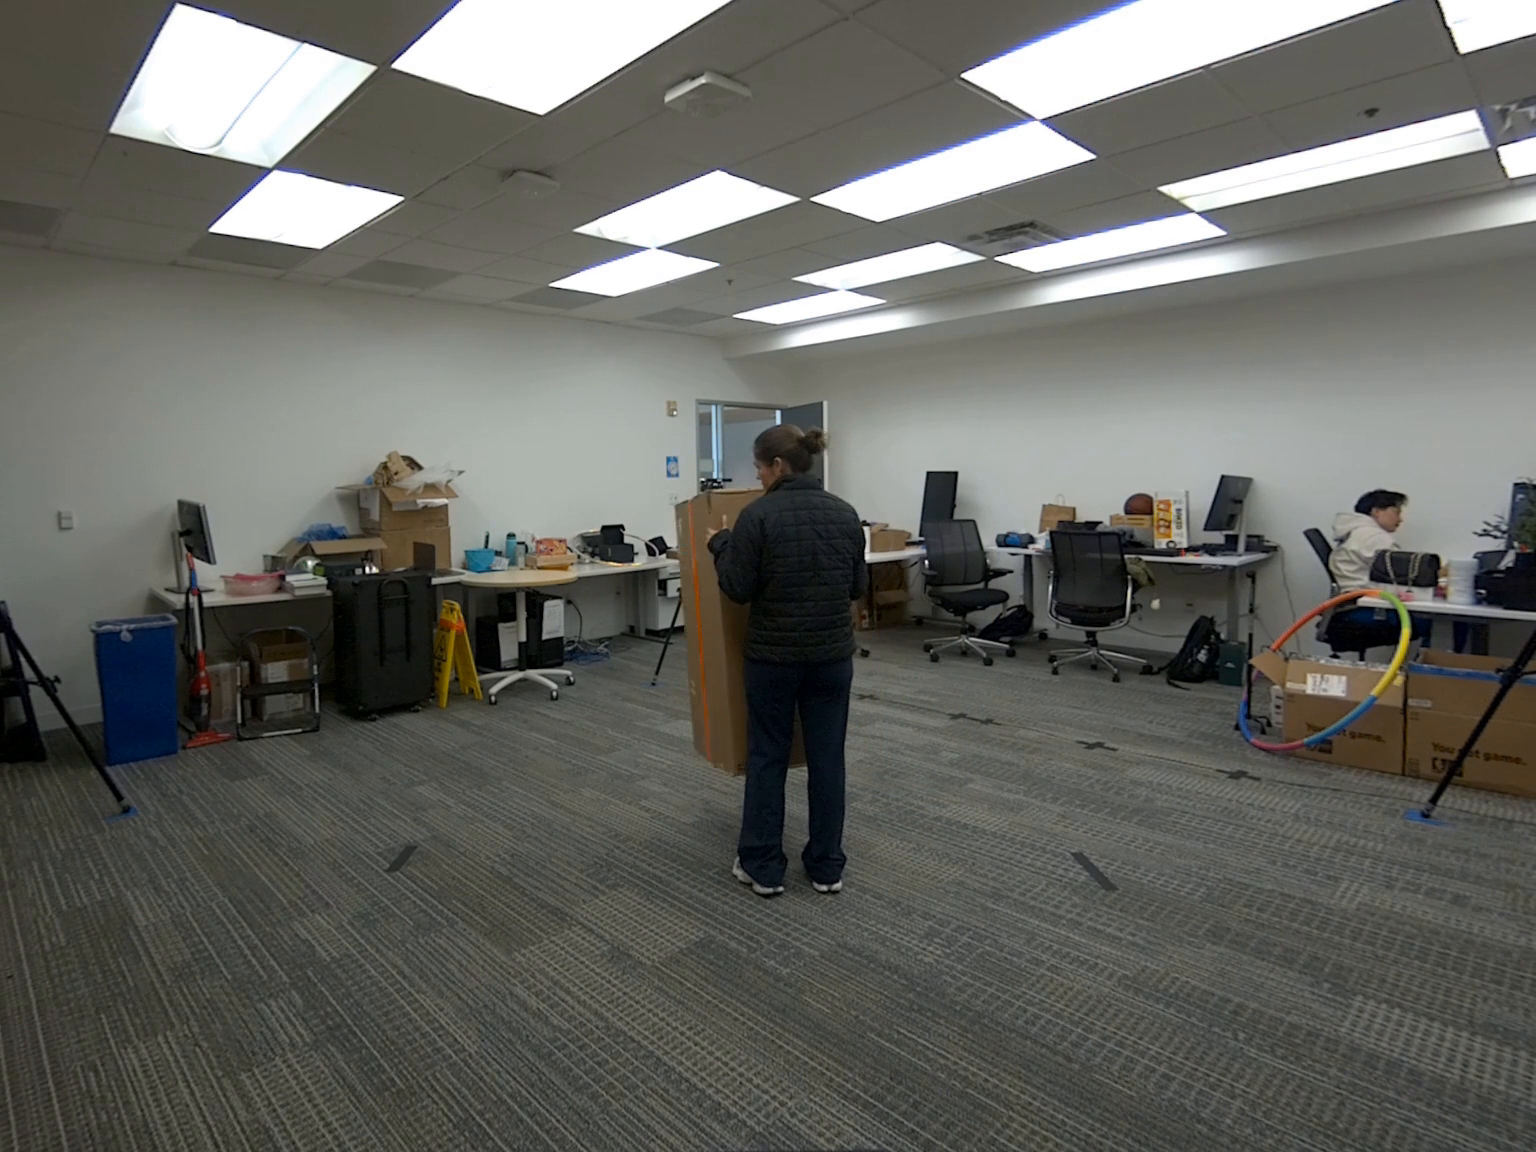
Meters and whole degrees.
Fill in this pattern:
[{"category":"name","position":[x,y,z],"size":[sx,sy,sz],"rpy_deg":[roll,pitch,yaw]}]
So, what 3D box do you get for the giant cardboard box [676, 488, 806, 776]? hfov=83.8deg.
[{"category":"giant cardboard box","position":[-0.067,0.194,3.376],"size":[0.420,1.028,0.585],"rpy_deg":[-4,-2,-18]}]
